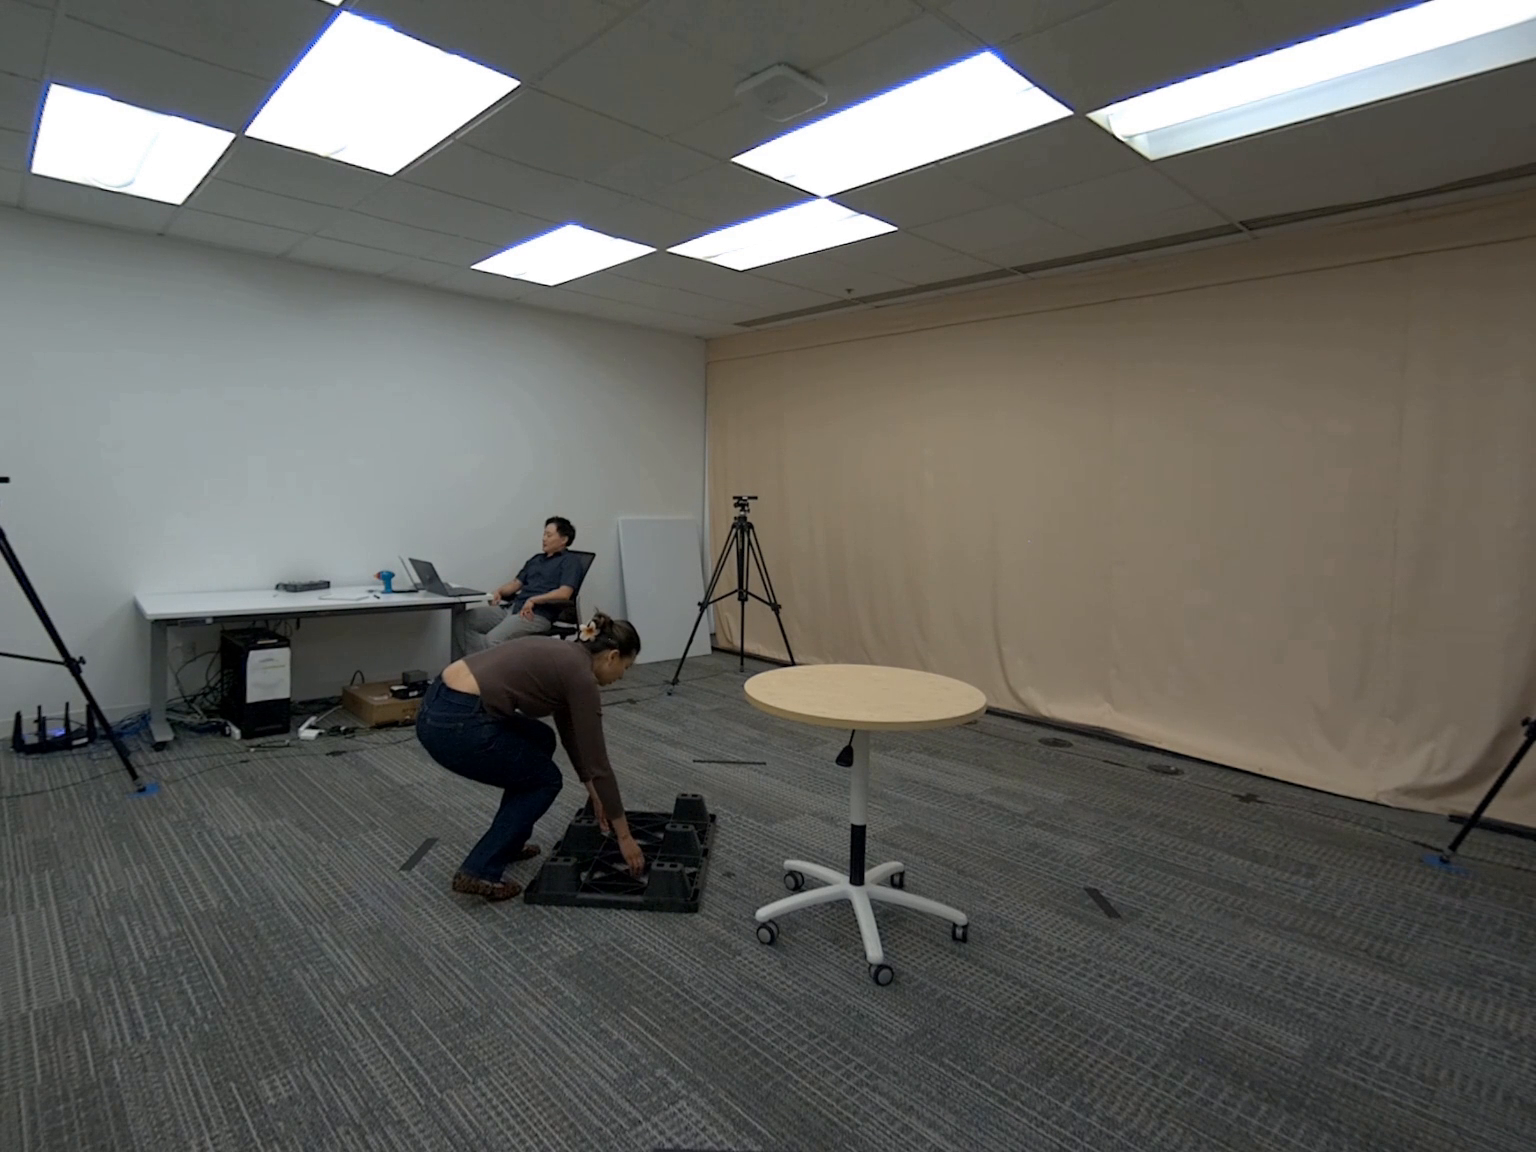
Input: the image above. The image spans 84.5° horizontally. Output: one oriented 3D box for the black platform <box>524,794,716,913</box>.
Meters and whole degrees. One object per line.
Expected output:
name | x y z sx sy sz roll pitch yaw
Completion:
black platform | -0.531 1.016 3.225 0.606 0.143 0.806 2 5 1
